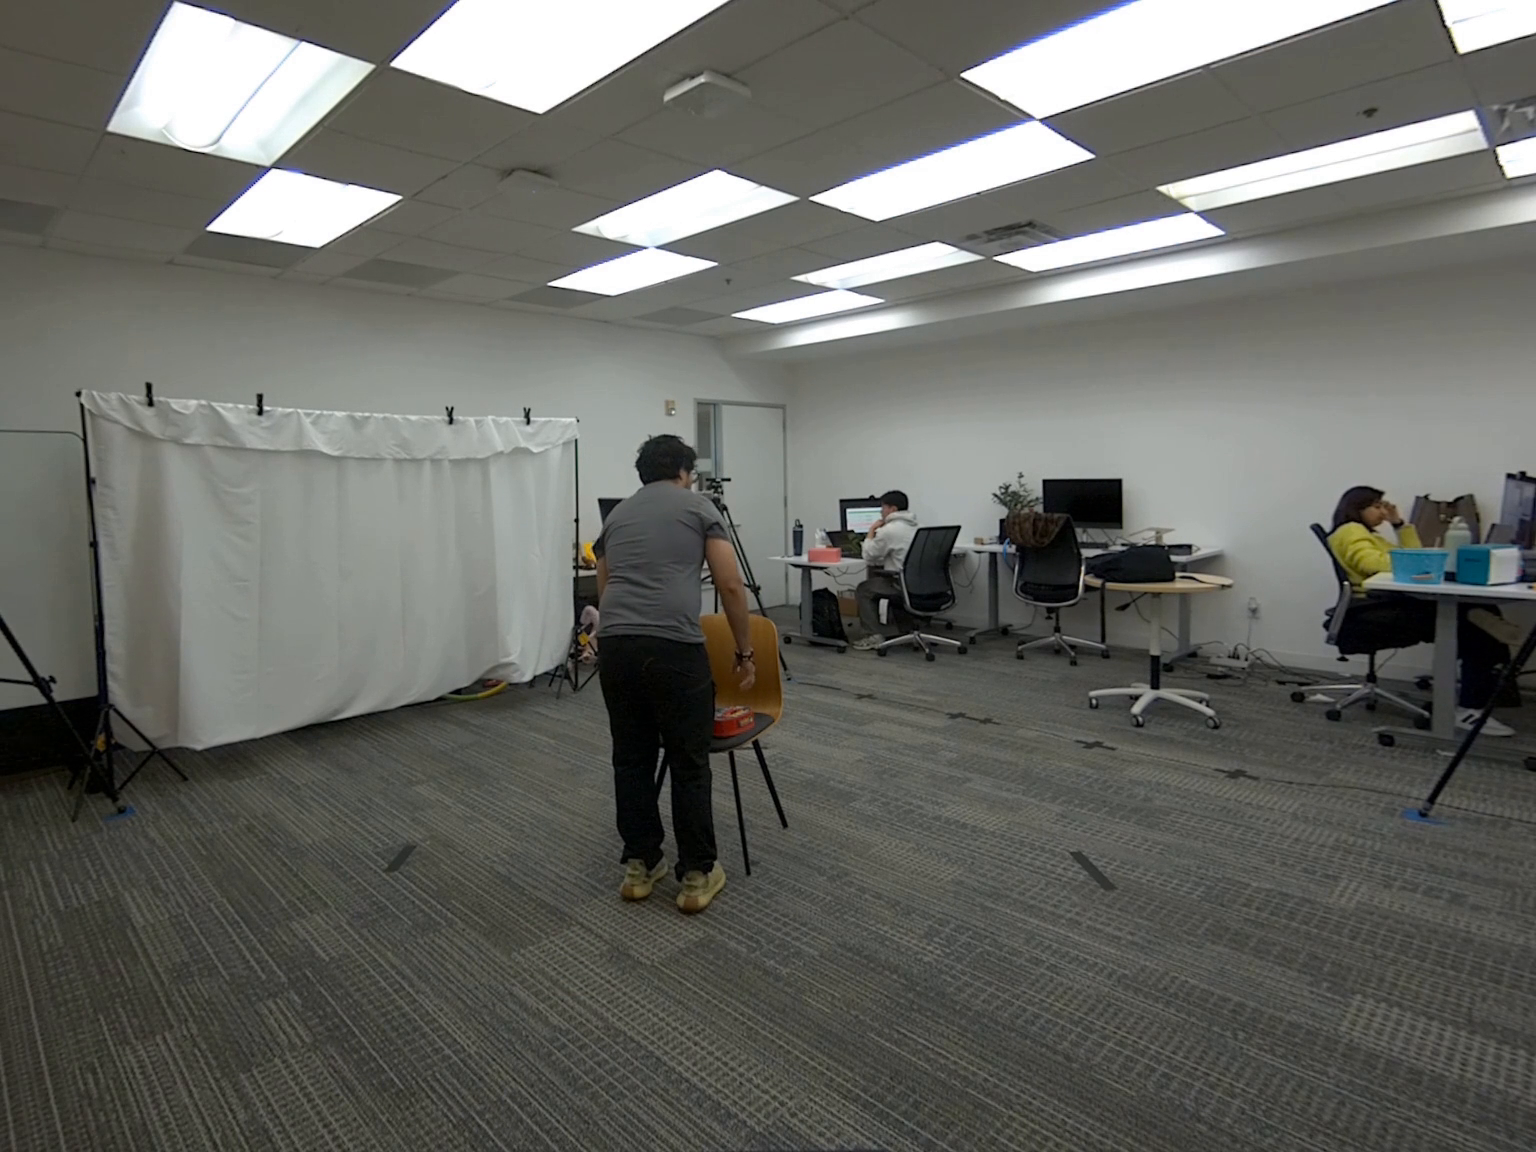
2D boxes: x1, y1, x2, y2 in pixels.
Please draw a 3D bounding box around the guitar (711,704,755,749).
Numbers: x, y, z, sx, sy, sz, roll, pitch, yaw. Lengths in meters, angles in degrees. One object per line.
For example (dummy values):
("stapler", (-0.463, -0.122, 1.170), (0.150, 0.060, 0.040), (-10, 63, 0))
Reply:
("guitar", (-0.263, 0.521, 3.215), (0.512, 0.070, 0.188), (2, 6, 44))
